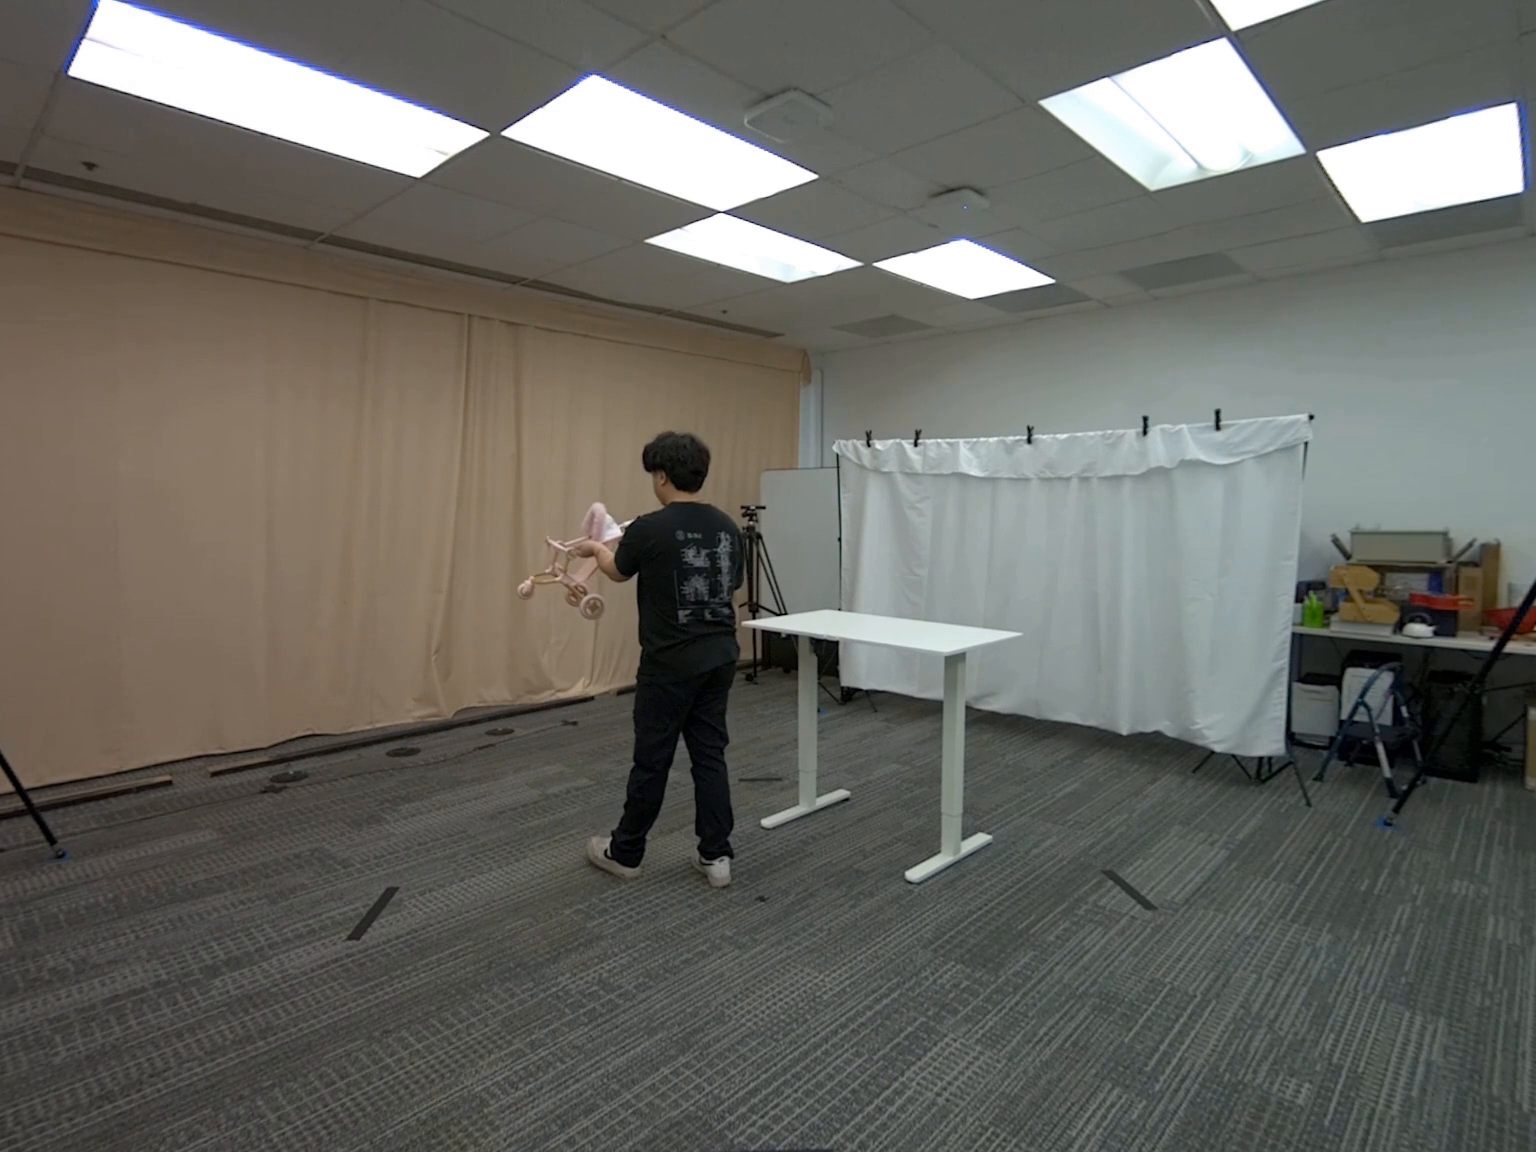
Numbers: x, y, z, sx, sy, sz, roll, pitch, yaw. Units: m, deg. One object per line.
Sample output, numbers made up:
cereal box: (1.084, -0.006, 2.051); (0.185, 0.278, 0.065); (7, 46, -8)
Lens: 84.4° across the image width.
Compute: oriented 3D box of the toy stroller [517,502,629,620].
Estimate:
toy stroller: (-0.789, -0.079, 3.560); (0.333, 0.535, 0.288); (31, -4, -22)
